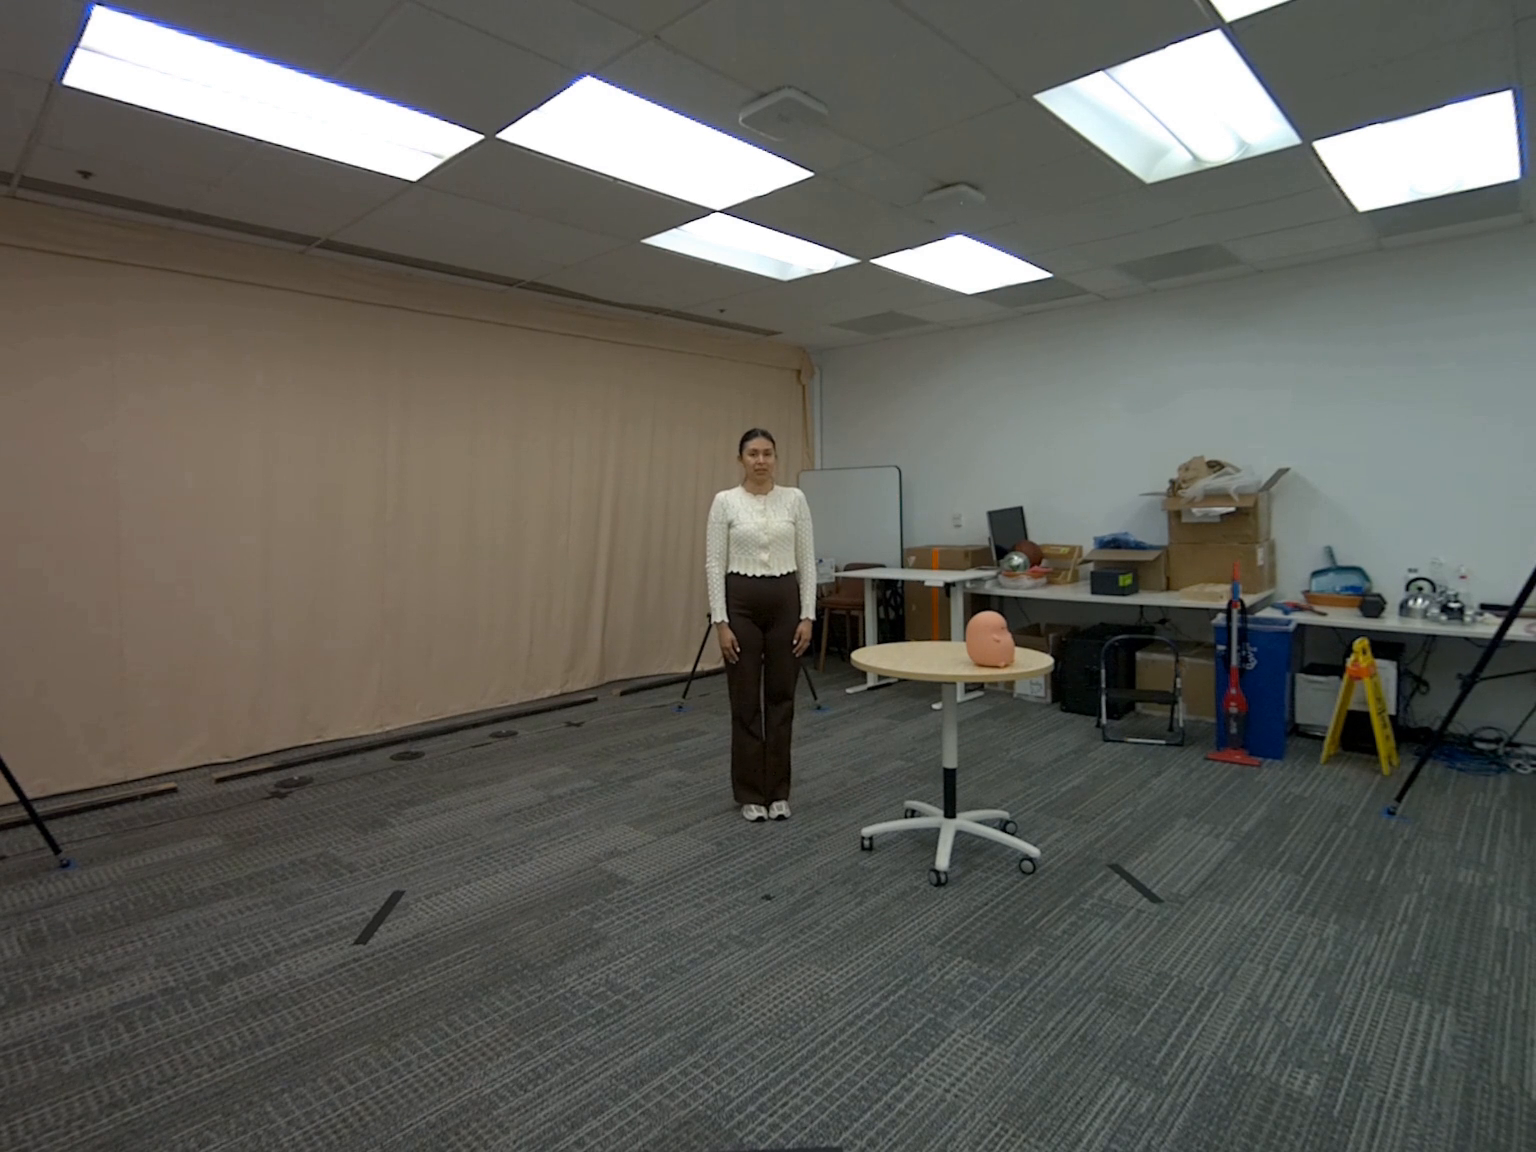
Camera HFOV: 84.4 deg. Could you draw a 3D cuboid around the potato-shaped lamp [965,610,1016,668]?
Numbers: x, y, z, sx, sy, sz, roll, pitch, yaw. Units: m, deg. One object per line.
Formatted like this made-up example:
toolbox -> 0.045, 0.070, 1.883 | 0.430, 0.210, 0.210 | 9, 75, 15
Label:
potato-shaped lamp -> 0.832, 0.231, 3.108 | 0.176, 0.198, 0.160 | 0, 4, 31
